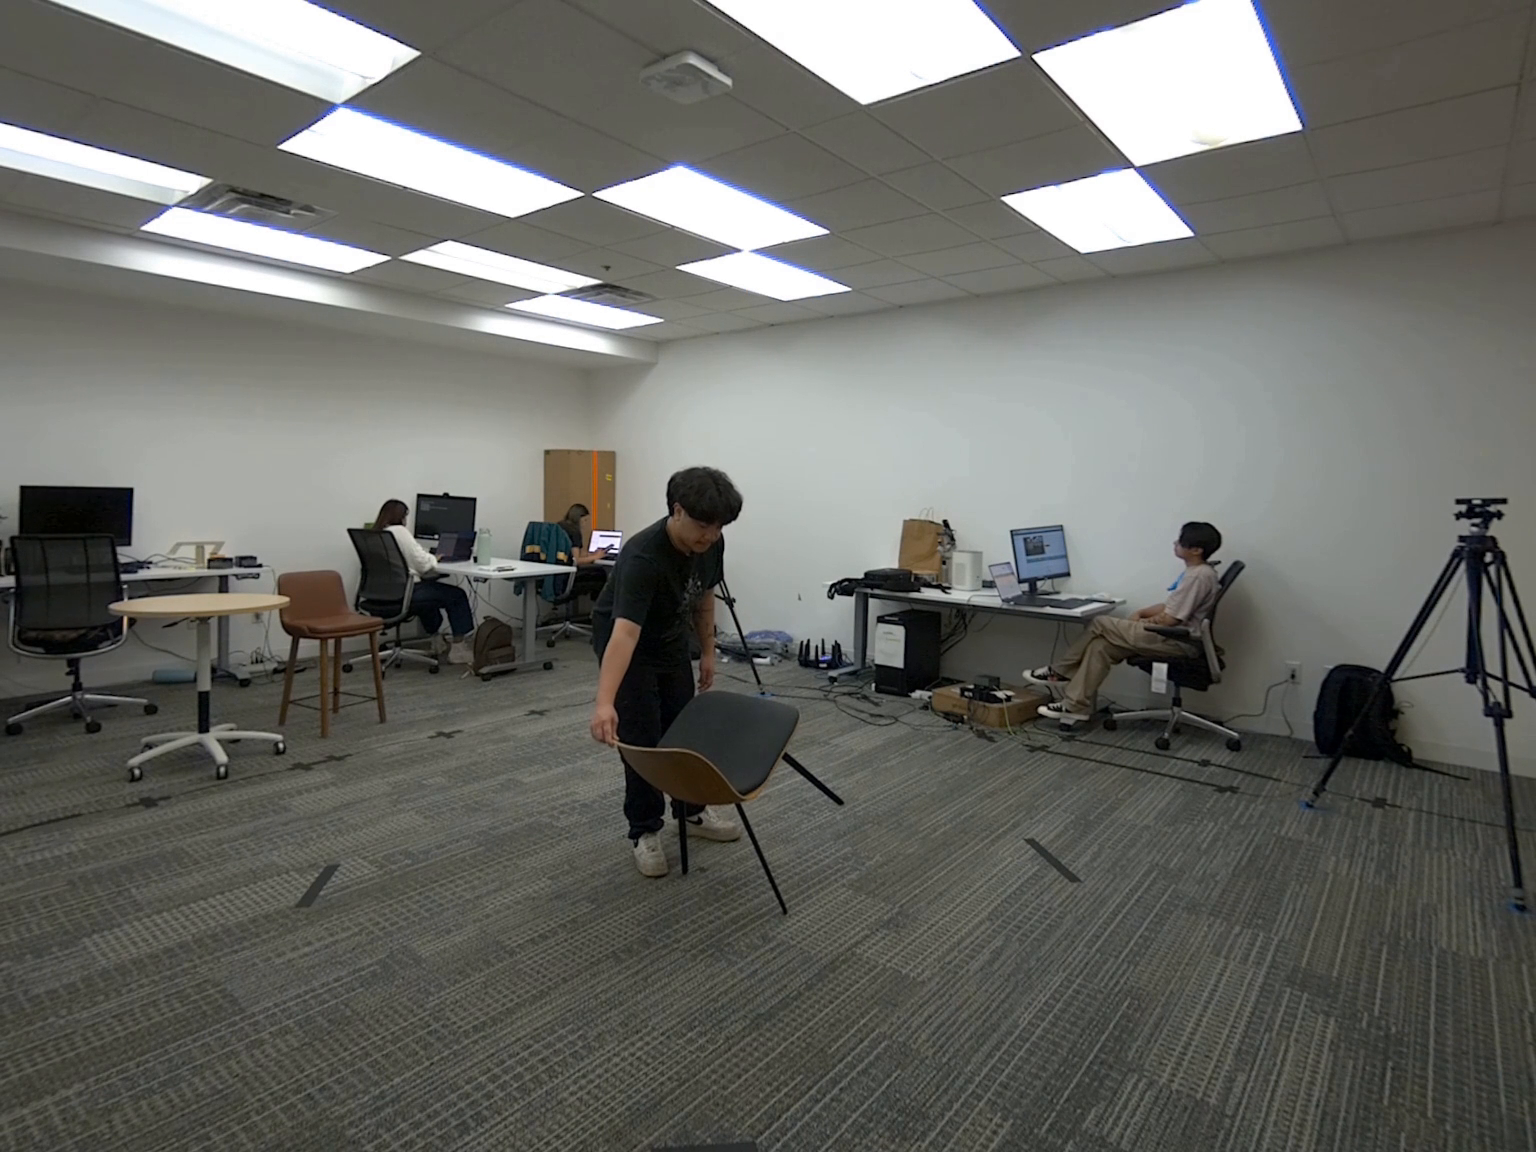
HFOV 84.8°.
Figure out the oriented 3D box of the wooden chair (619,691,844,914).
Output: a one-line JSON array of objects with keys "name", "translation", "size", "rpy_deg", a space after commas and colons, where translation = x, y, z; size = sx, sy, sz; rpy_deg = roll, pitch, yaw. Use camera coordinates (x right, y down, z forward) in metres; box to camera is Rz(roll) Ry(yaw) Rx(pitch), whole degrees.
[{"name": "wooden chair", "translation": [-0.158, 0.617, 2.846], "size": [0.494, 0.845, 0.526], "rpy_deg": [3, 46, 37]}]
